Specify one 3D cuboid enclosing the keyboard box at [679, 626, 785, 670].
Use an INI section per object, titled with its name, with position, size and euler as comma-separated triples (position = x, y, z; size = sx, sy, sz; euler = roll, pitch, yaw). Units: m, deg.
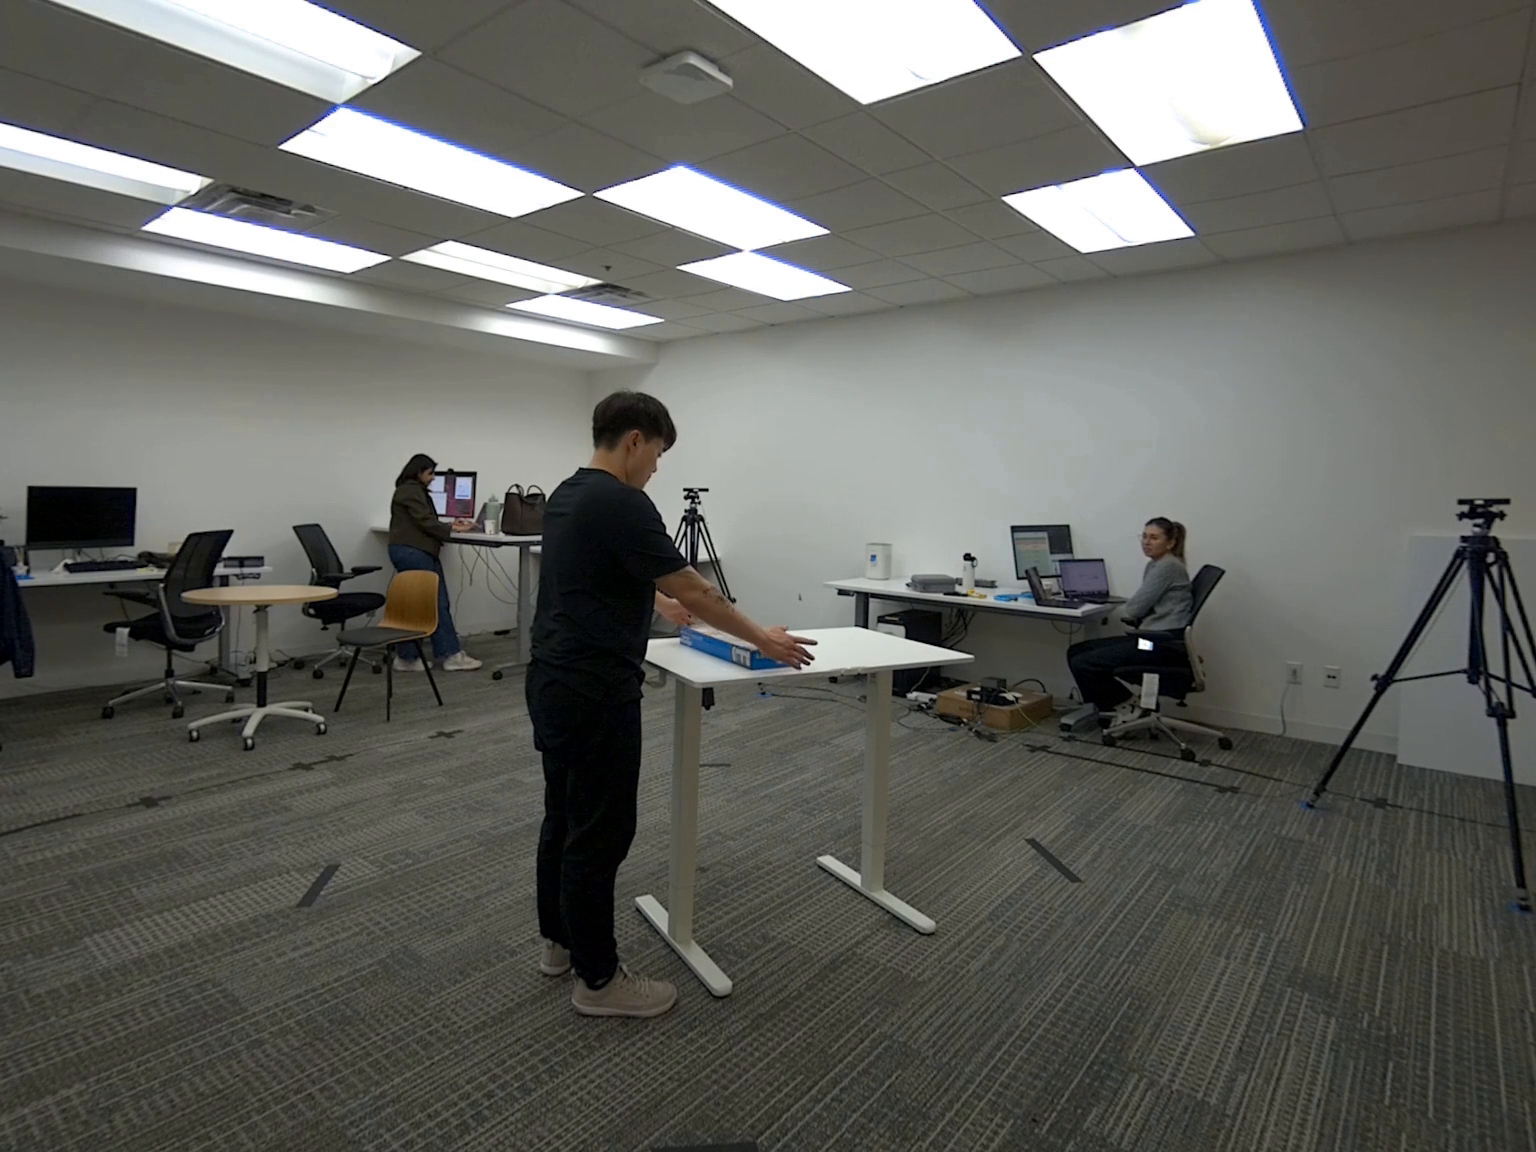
[keyboard box]
position = -0.103, 0.211, 2.600
size = 0.171, 0.059, 0.451
euler = -1, 6, -31
